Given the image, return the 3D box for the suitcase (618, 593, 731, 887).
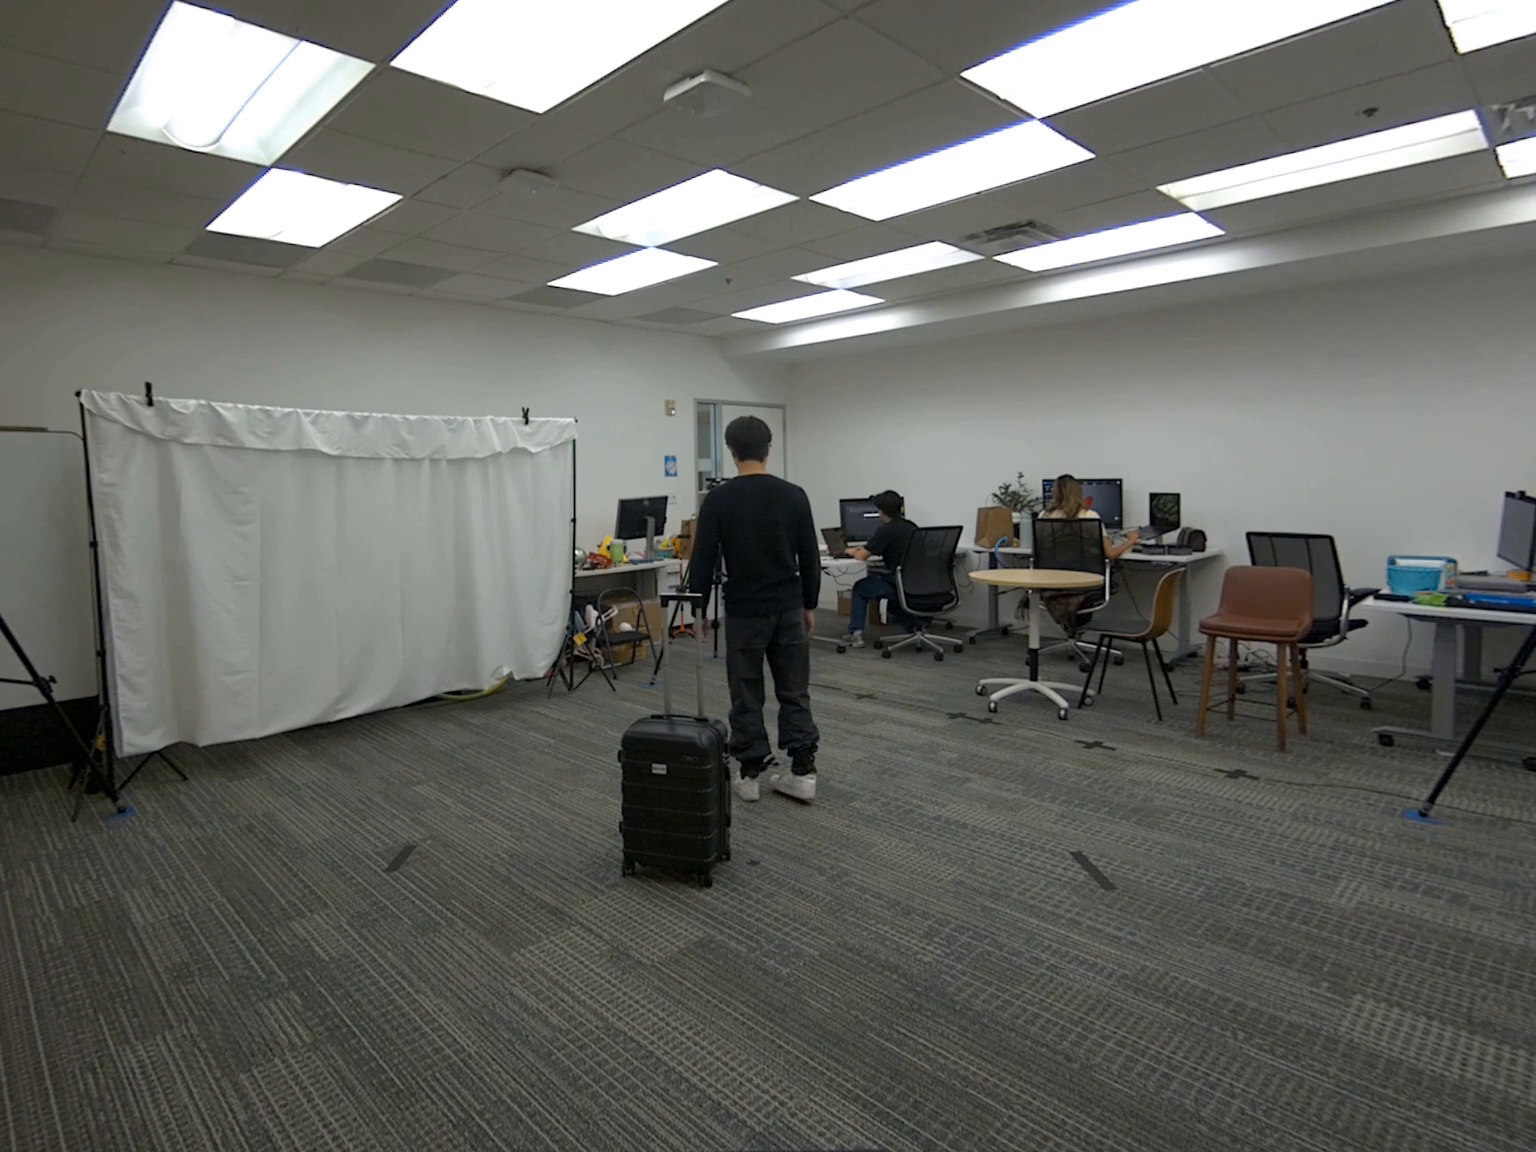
[{"bbox_3d":[-0.328,0.578,3.021,0.390,0.973,0.254,1,6,17],"label":"suitcase"}]
